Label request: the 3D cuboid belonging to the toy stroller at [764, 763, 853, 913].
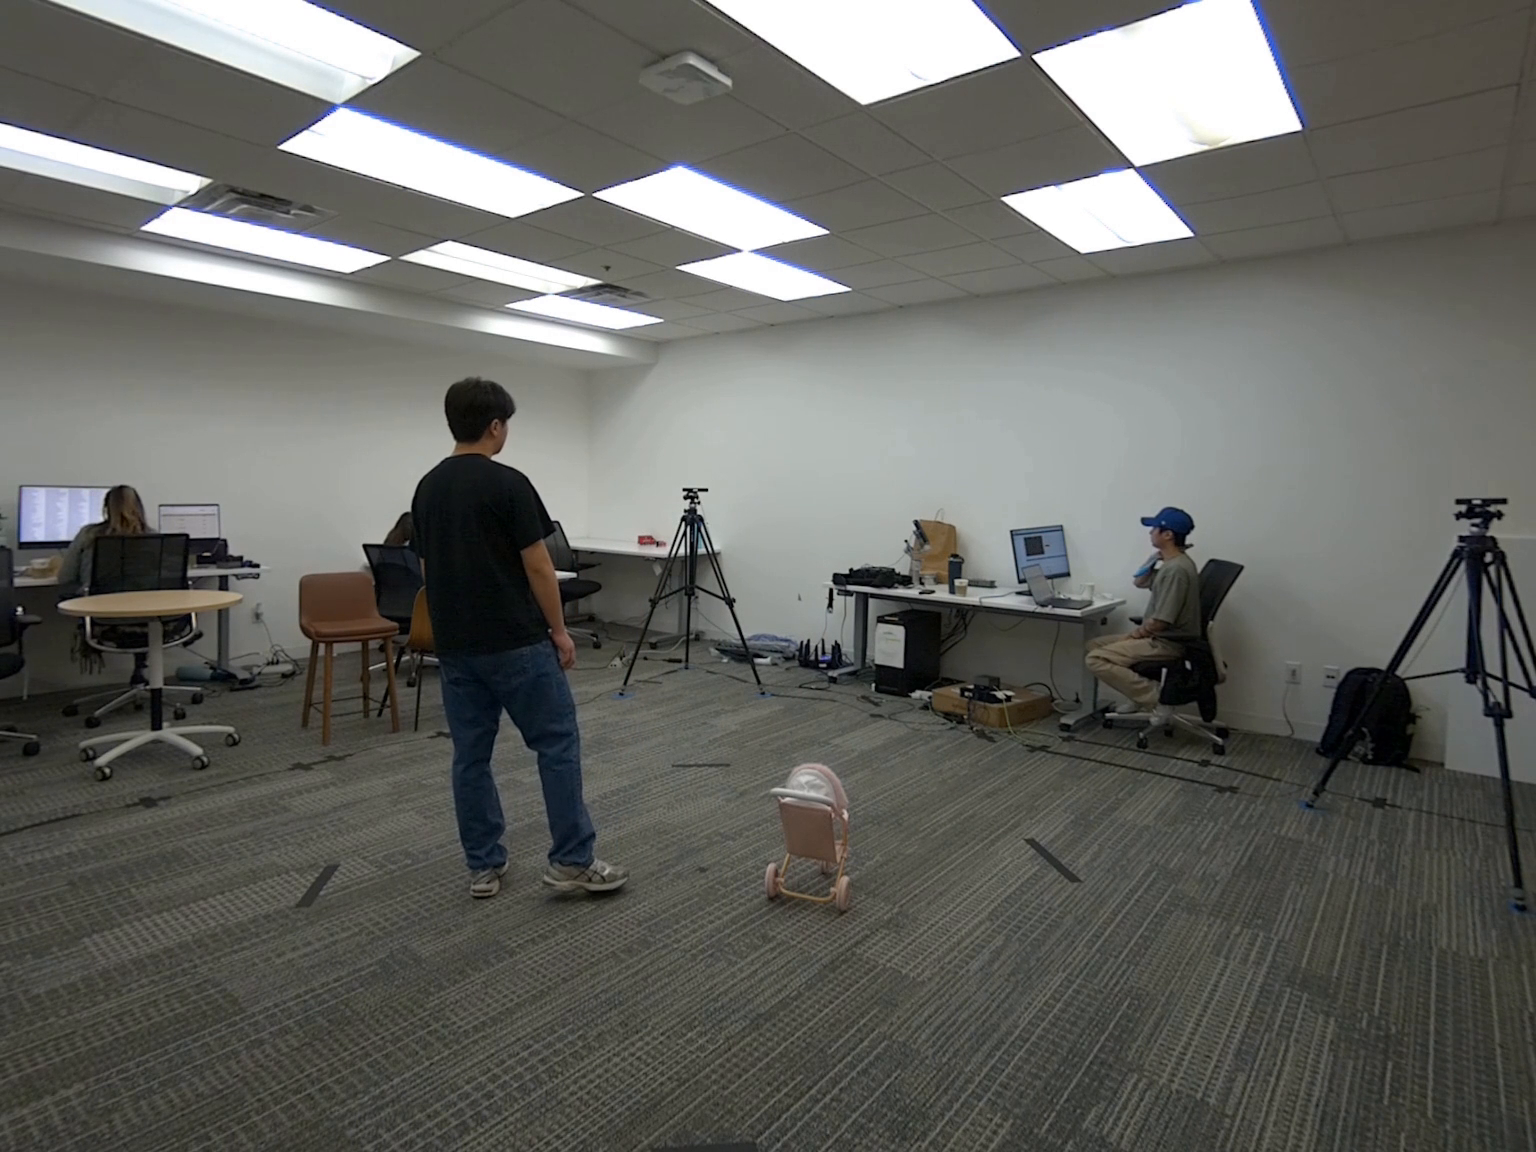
[{"bbox_3d":[0.152,0.874,2.918,0.288,0.525,0.339,4,21,22],"label":"toy stroller"}]
